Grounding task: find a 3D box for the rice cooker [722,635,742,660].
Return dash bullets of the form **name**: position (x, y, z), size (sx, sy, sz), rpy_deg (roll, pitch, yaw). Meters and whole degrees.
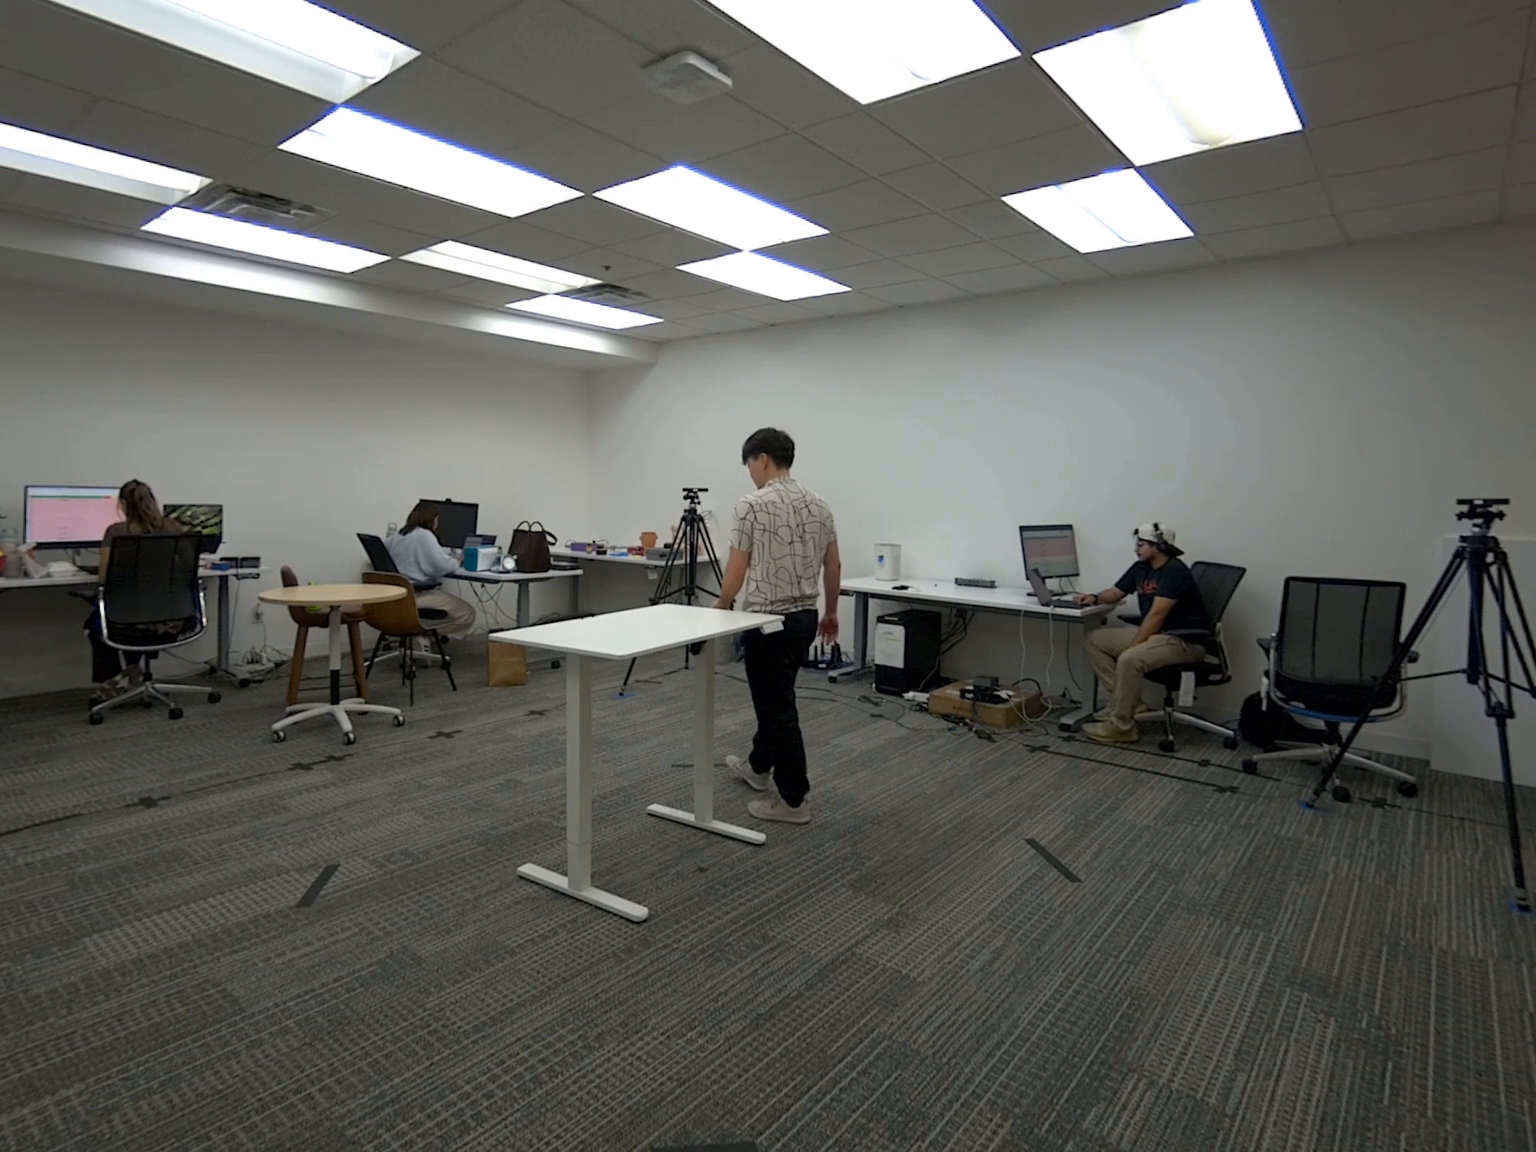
- **rice cooker**: position (-0.235, 0.259, 3.825), size (0.228, 0.230, 0.213), rpy_deg (8, 14, 32)
